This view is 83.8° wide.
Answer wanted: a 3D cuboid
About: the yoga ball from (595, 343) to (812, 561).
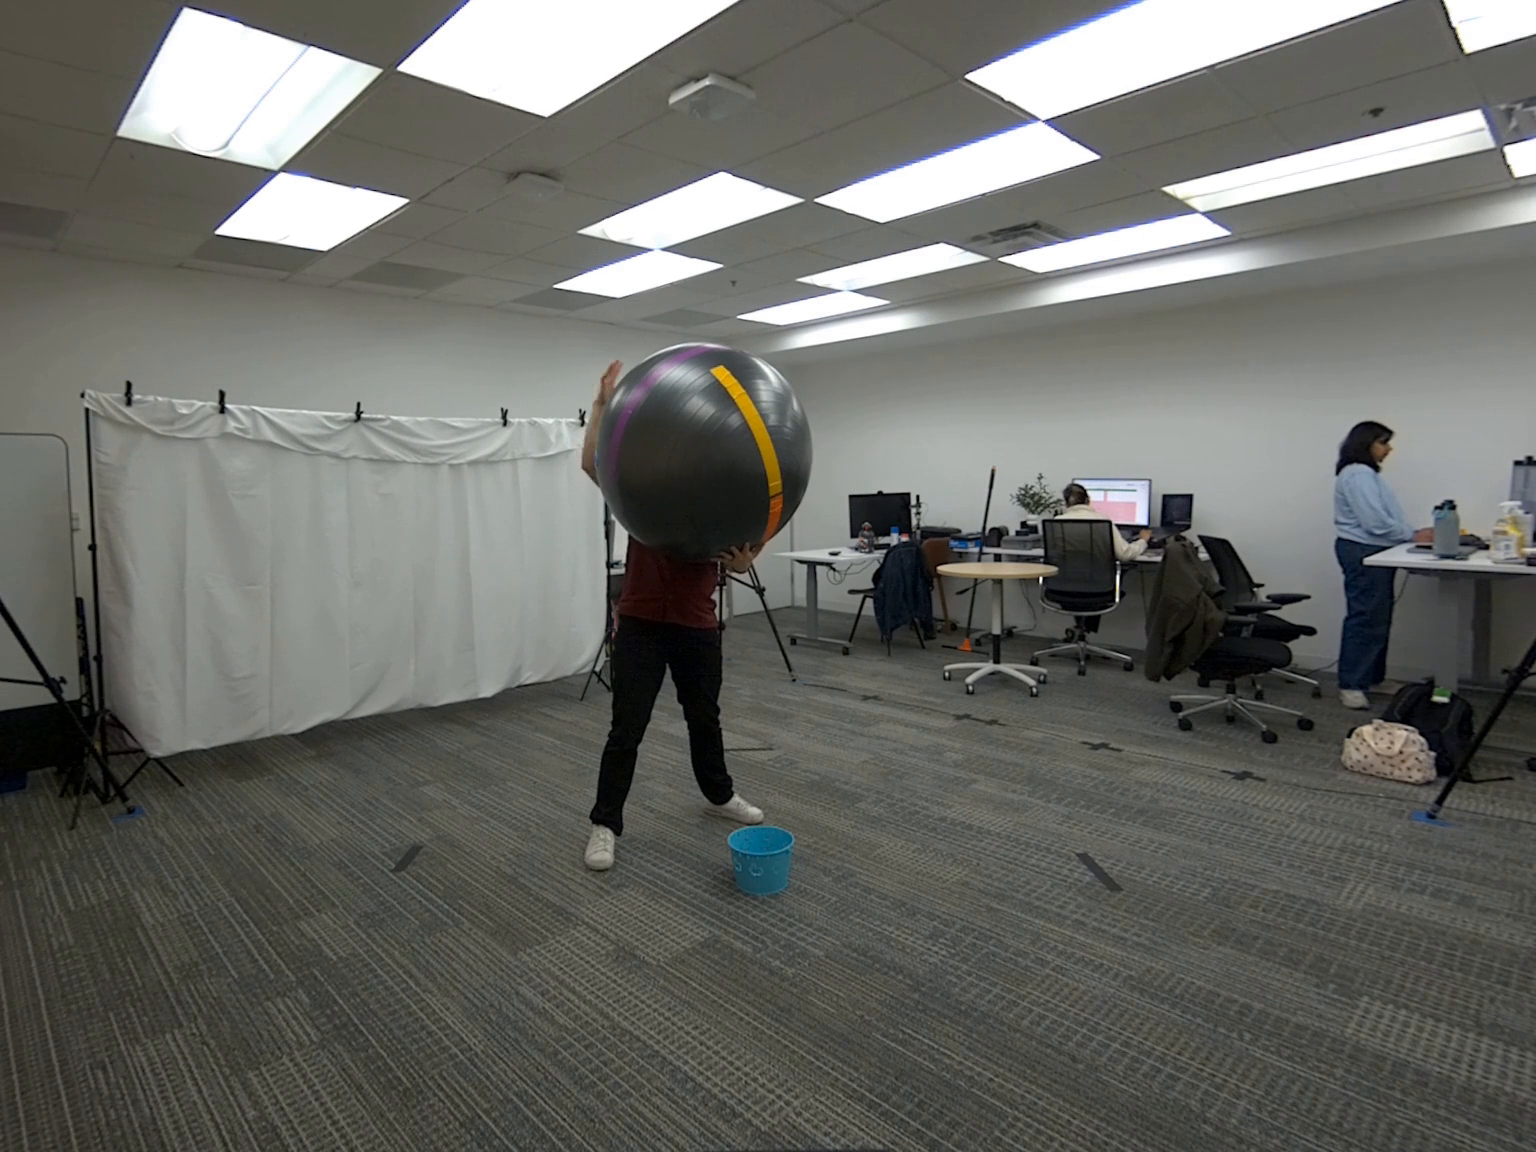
[{"bbox_3d":[-0.230,-0.423,2.985,0.757,0.755,0.762,-1,5,-2],"label":"yoga ball"}]
